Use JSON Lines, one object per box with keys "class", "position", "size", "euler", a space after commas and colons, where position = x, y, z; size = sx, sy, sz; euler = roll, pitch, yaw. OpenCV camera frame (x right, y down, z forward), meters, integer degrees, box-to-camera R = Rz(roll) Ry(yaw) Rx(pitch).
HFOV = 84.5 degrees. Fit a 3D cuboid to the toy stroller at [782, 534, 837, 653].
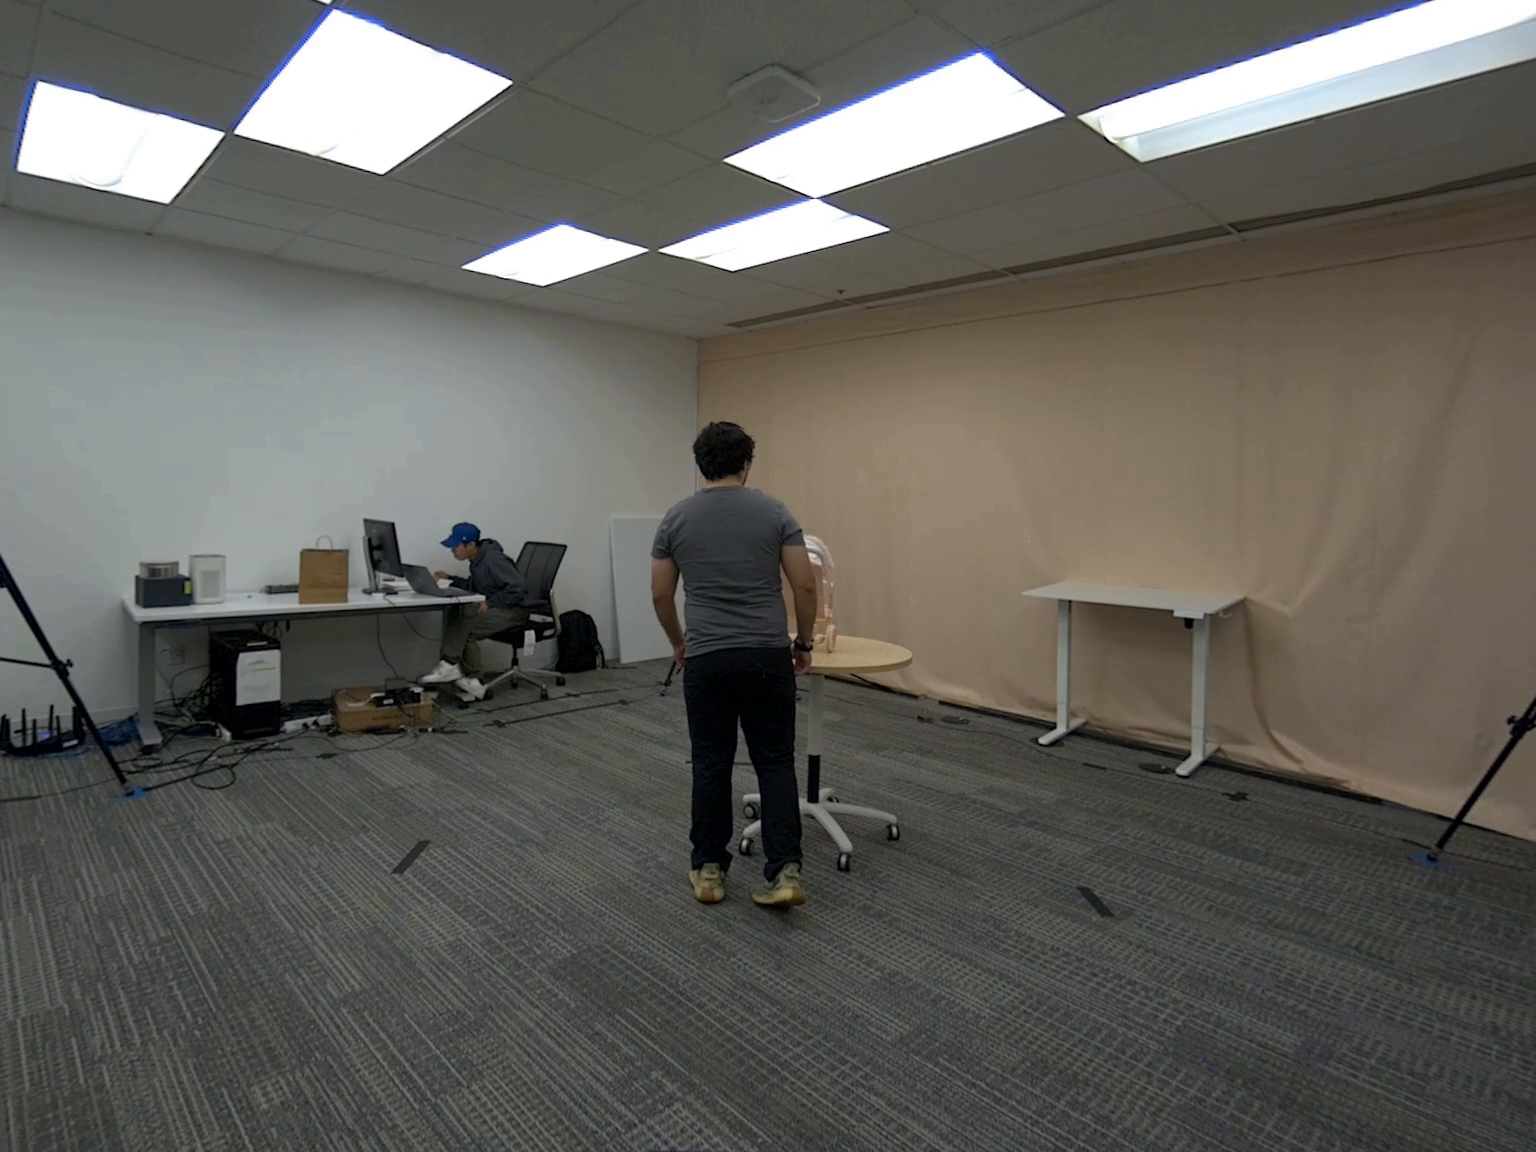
{"class": "toy stroller", "position": [0.153, 0.074, 3.490], "size": [0.286, 0.528, 0.341], "euler": [3, 19, 18]}
